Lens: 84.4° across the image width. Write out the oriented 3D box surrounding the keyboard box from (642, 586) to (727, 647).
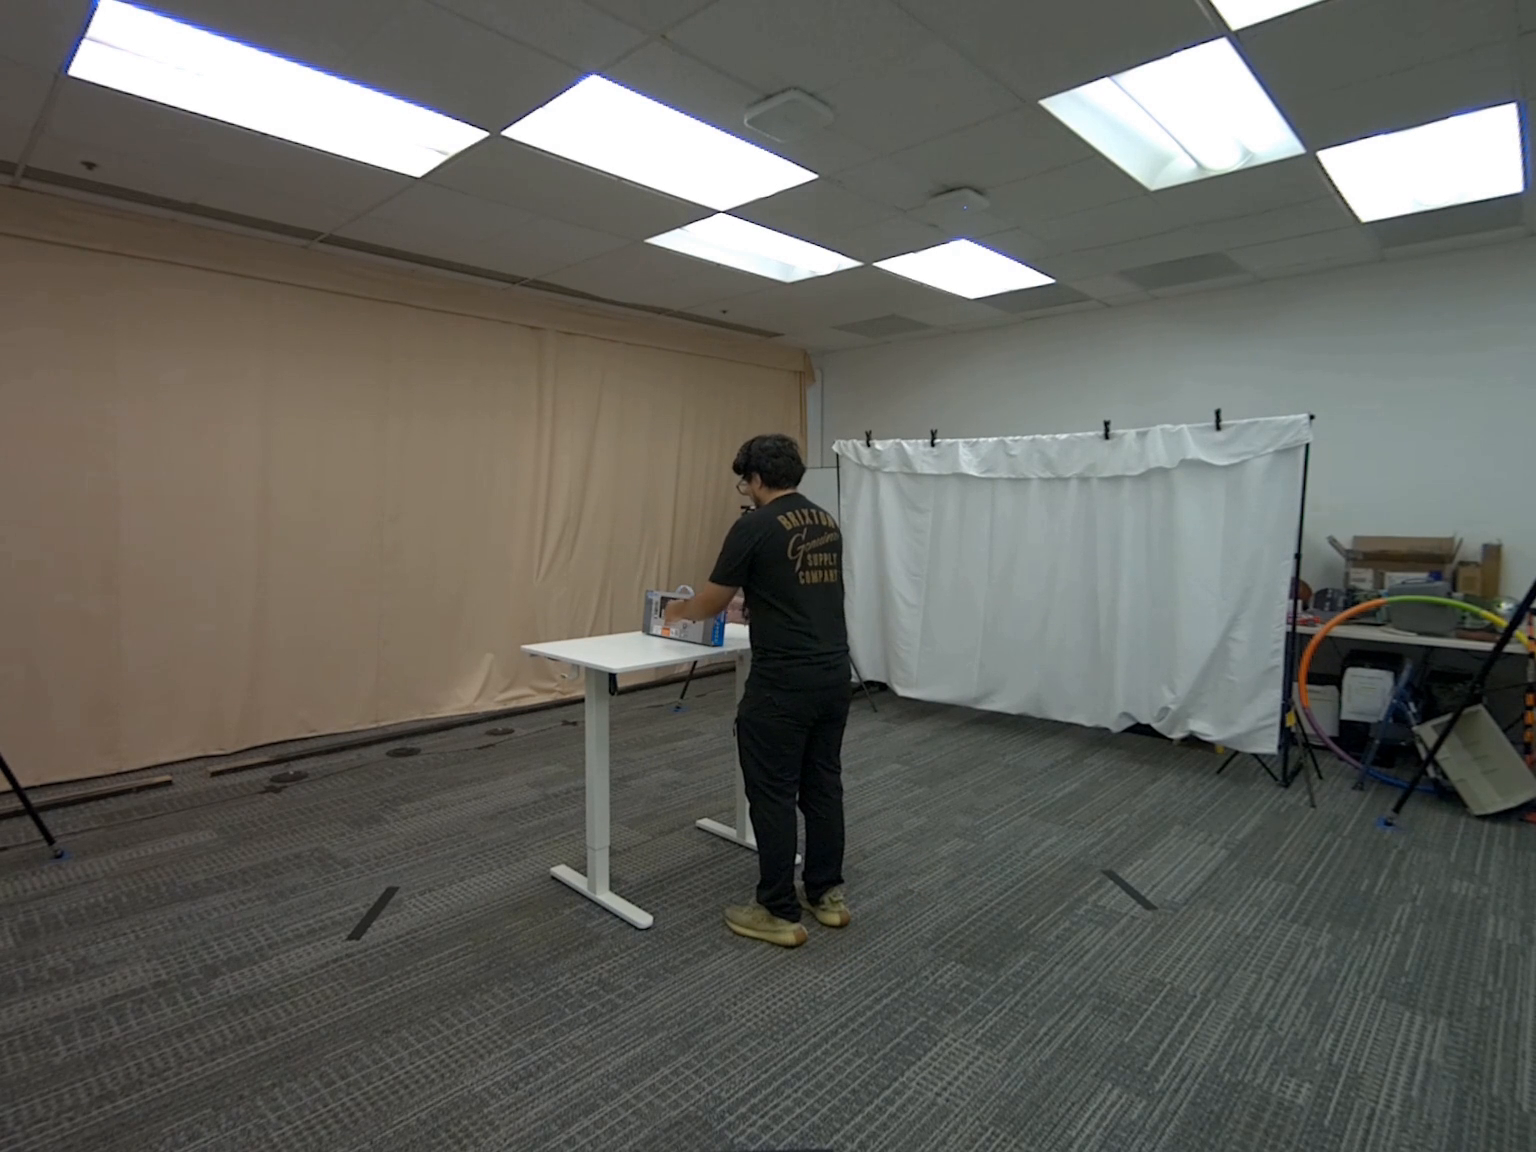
[{"bbox_3d":[-0.324,0.158,3.216,0.057,0.176,0.451,7,-2,-43],"label":"keyboard box"}]
